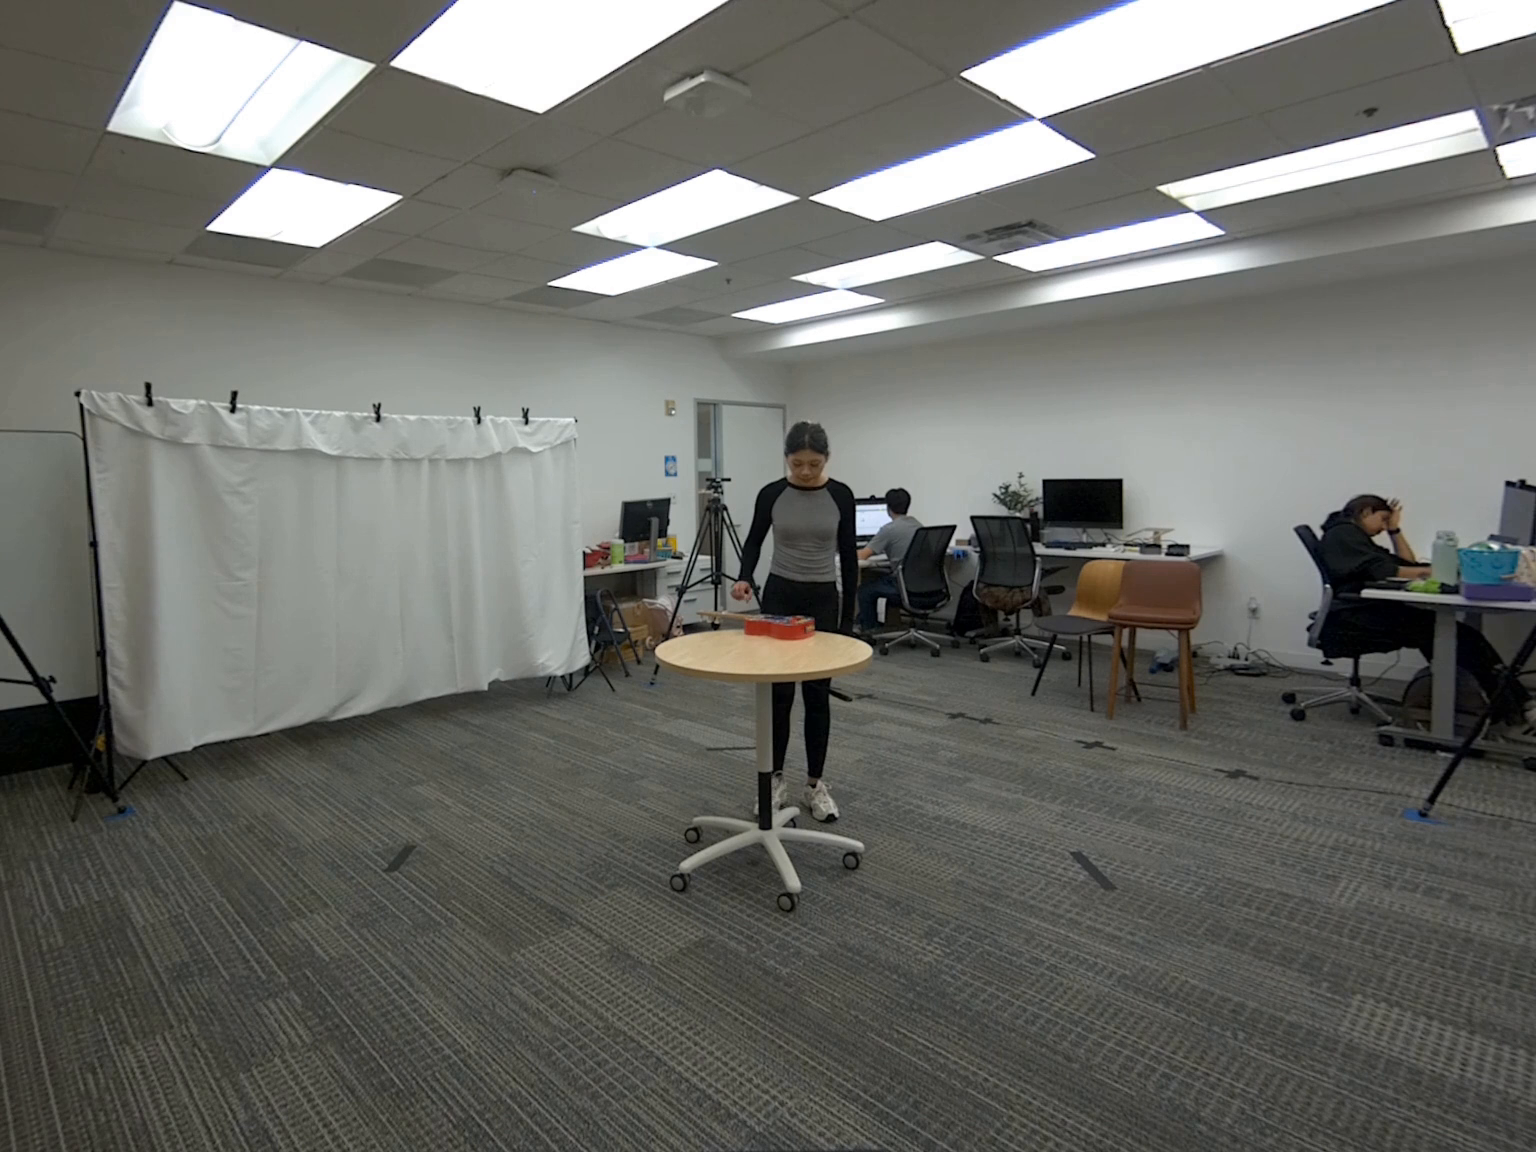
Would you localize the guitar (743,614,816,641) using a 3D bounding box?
[{"bbox_3d":[-0.047,0.183,3.376,0.513,0.070,0.188,6,10,40],"label":"guitar"}]
